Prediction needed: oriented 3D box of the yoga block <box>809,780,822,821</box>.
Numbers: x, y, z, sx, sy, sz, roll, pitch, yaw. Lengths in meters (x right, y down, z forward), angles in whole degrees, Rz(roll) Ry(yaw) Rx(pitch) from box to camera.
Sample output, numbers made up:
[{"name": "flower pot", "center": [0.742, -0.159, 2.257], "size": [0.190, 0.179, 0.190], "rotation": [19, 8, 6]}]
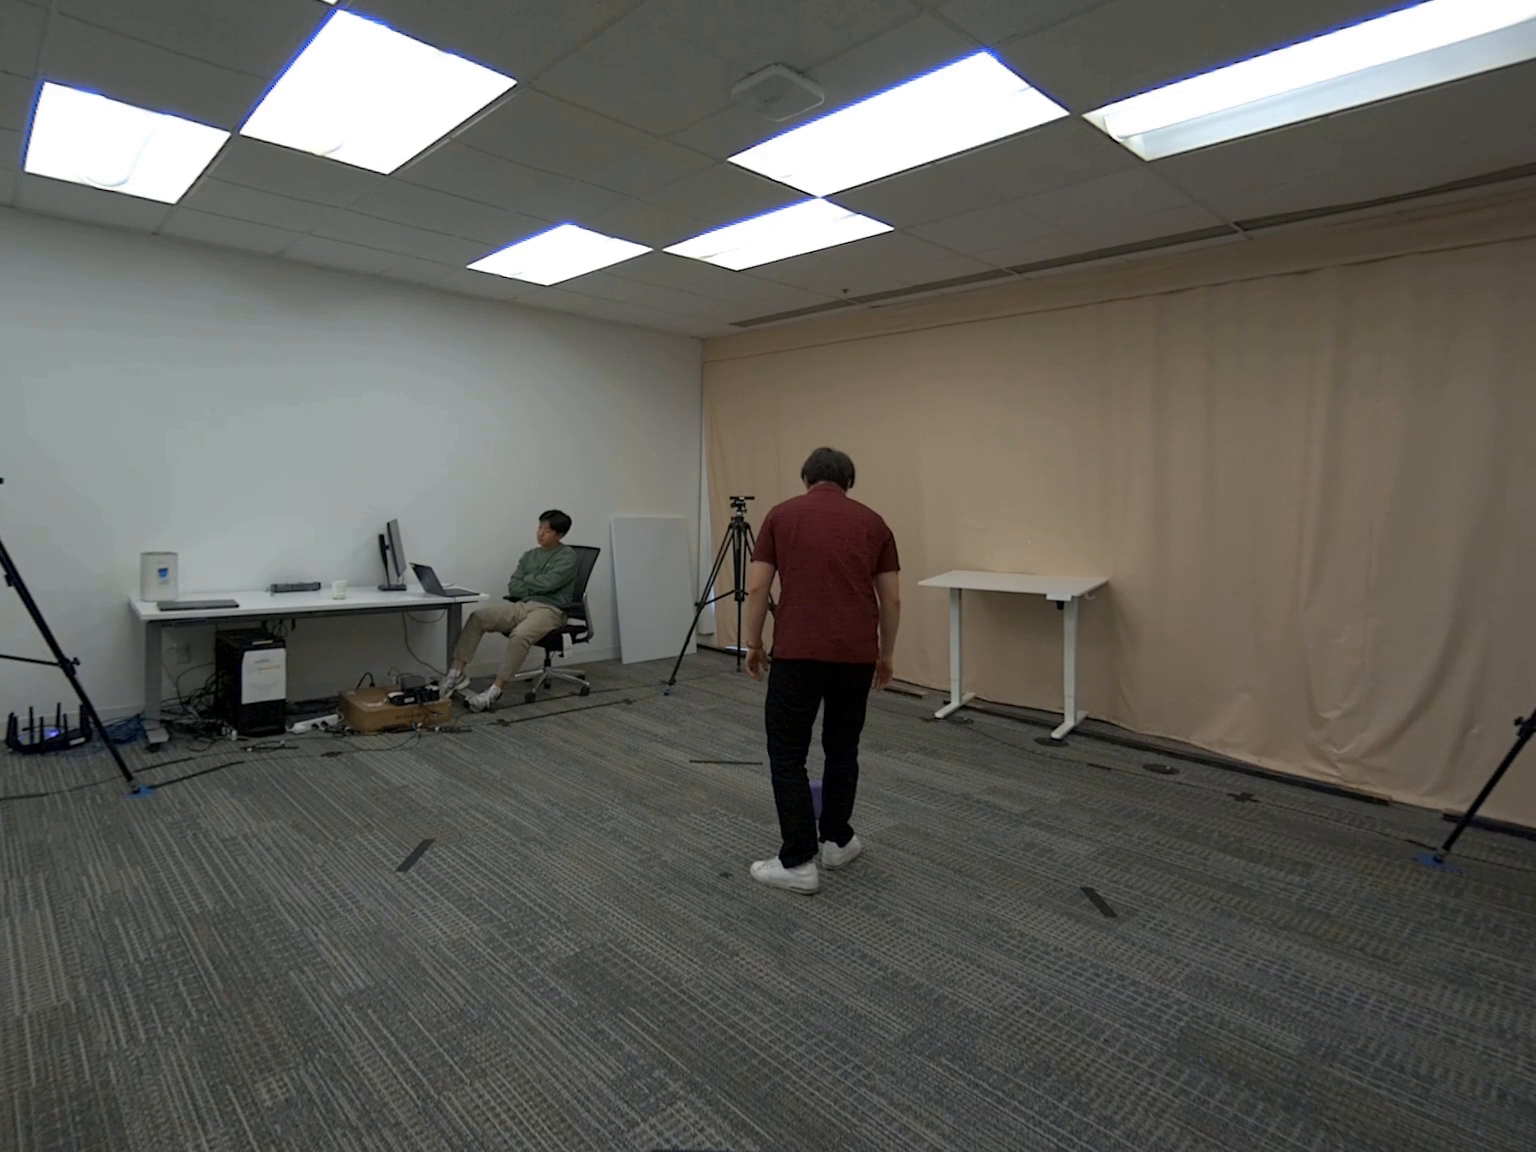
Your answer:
[{"name": "yoga block", "center": [0.211, 0.986, 3.703], "size": [0.230, 0.149, 0.076], "rotation": [2, 2, 2]}]
